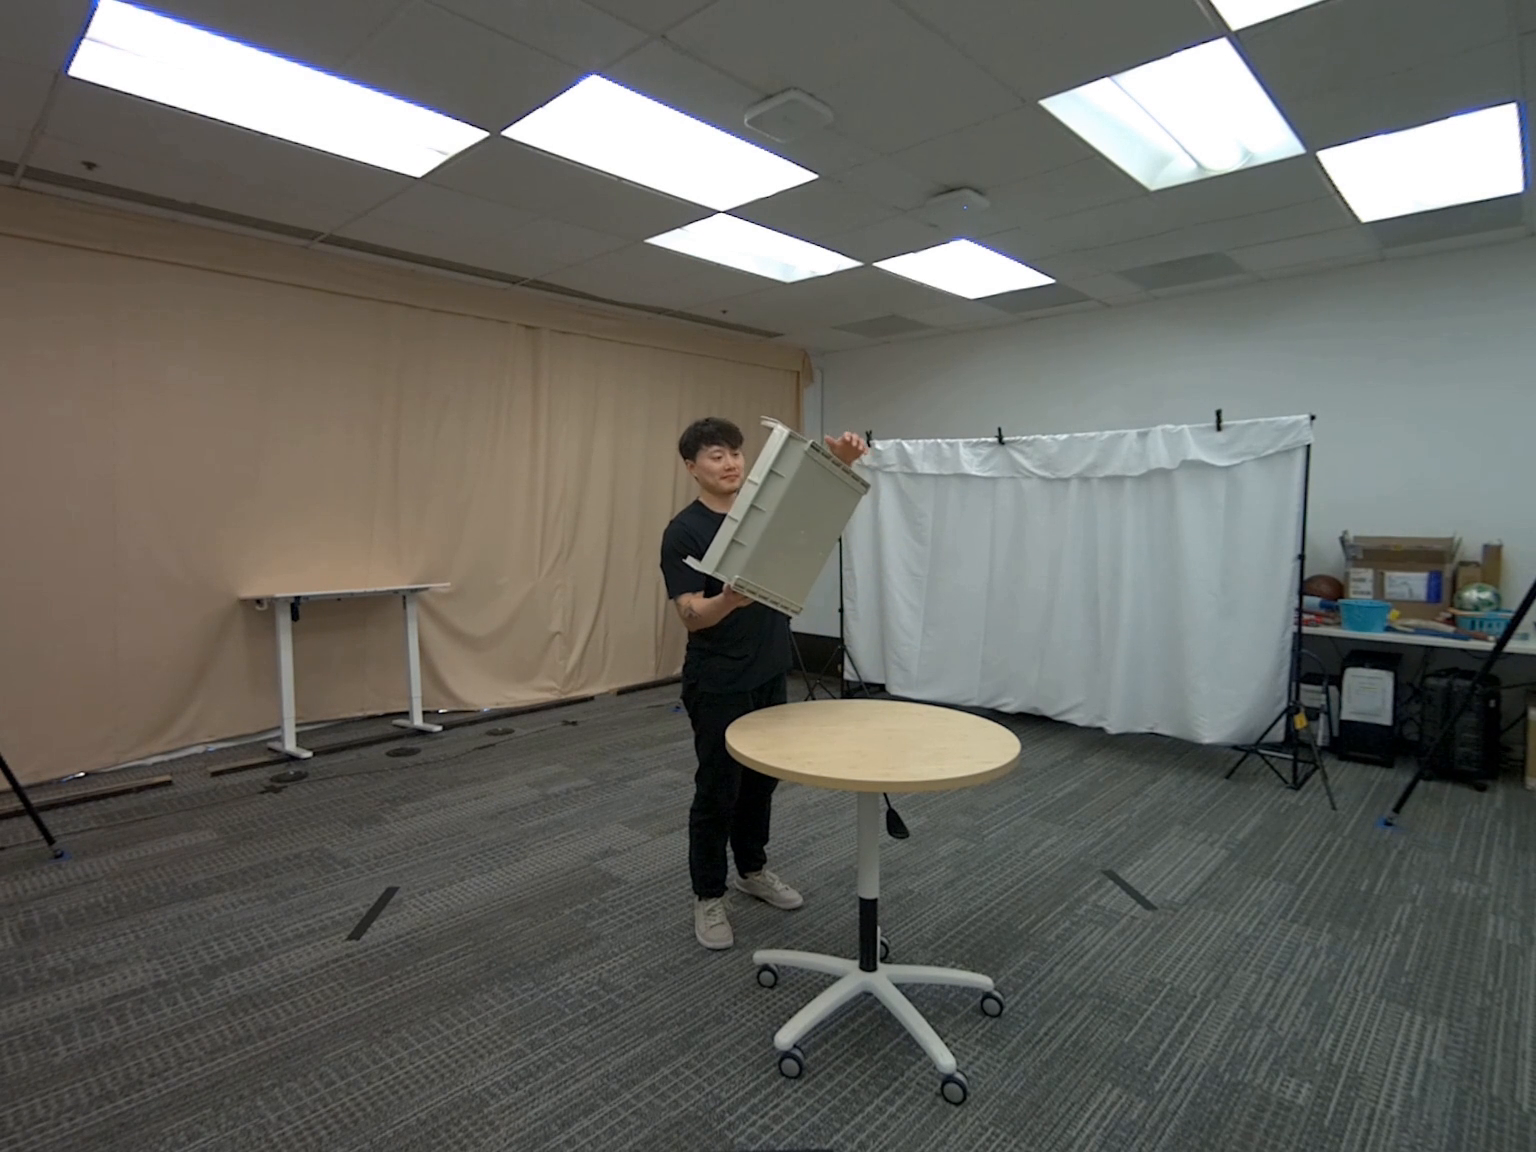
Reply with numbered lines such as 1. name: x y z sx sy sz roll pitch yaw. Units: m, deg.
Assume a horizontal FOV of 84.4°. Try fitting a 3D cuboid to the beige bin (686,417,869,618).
1. beige bin: 0.027 -0.148 2.212 0.196 0.422 0.363 31 3 42
